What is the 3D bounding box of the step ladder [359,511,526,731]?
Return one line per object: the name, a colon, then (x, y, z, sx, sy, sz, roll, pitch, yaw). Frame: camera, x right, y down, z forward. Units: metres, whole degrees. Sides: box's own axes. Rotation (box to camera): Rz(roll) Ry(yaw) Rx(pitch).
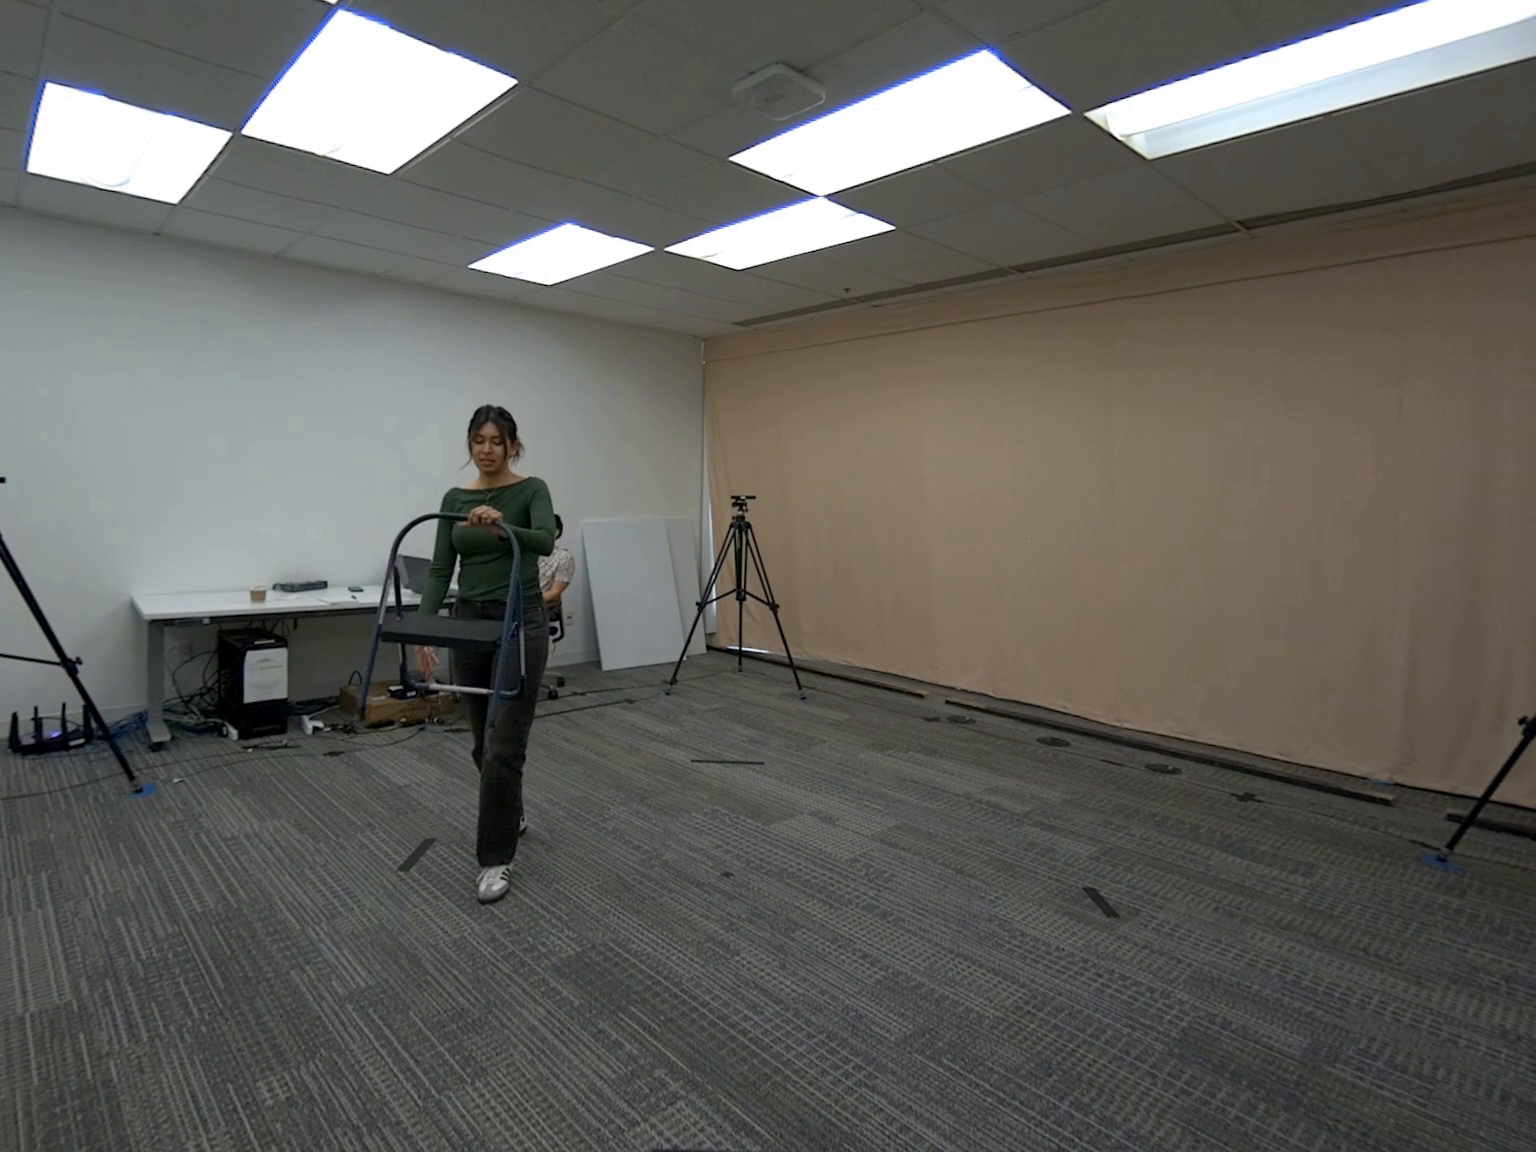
step ladder: (-0.979, 0.121, 2.589, 0.431, 0.603, 0.350, 6, 7, 1)
